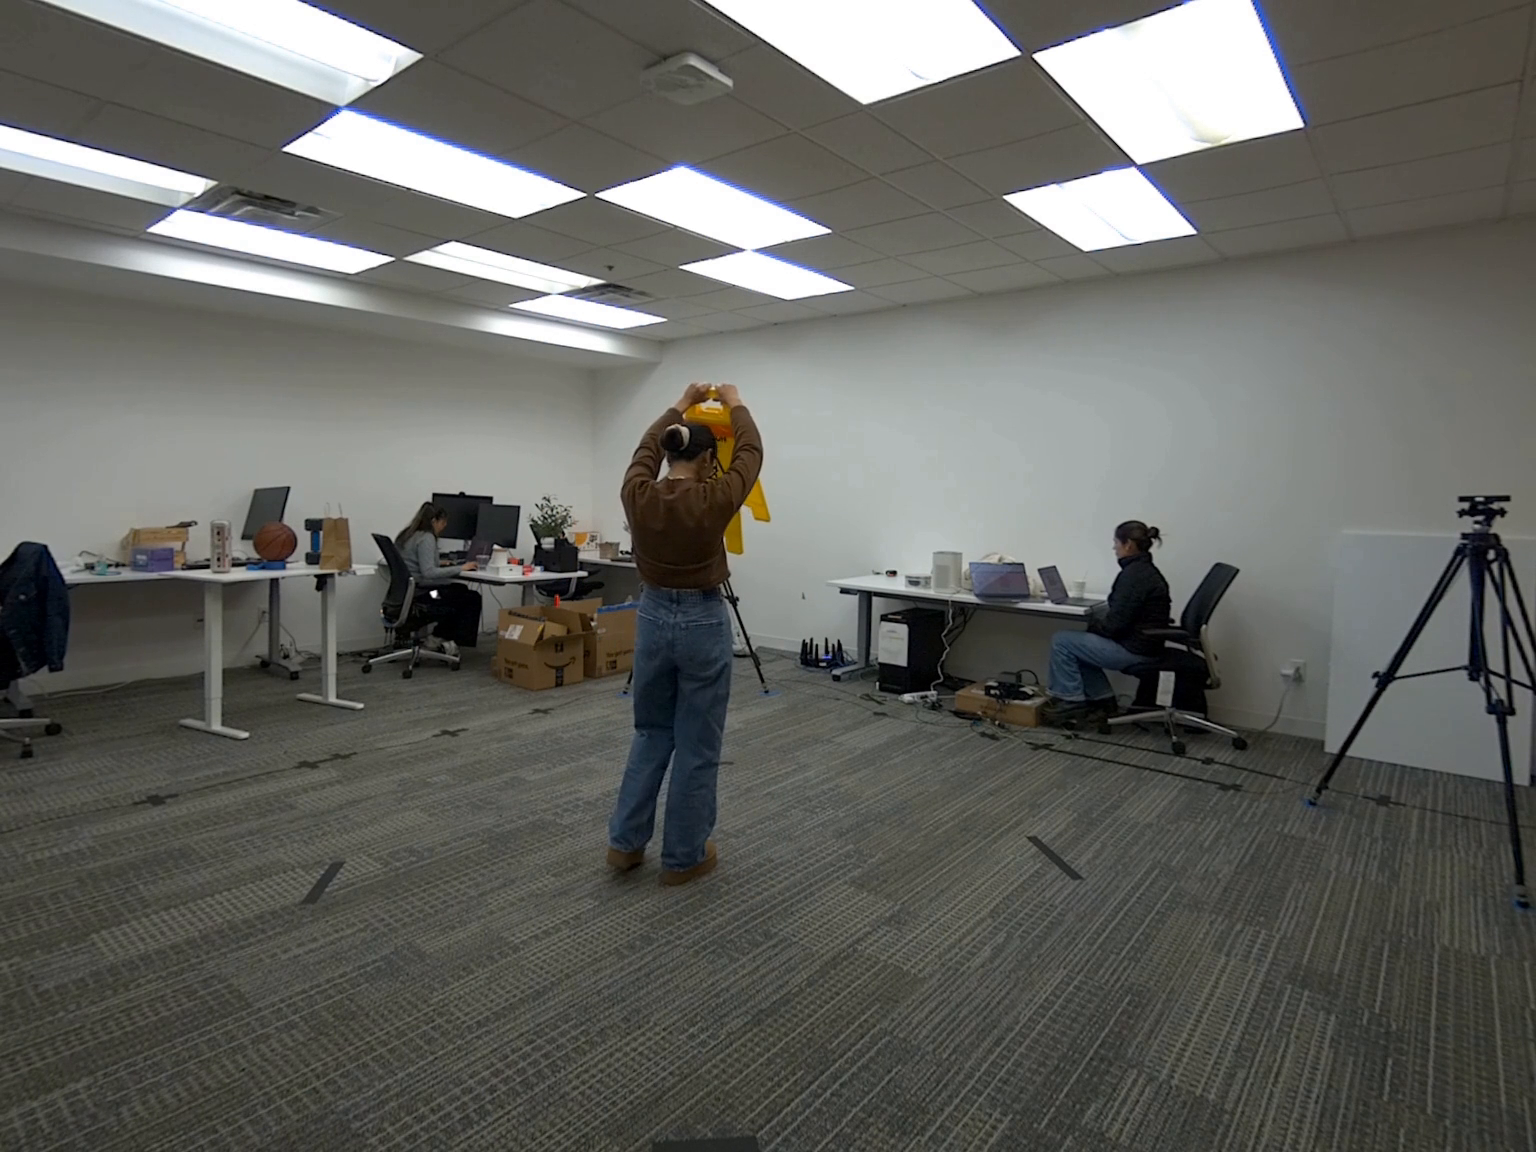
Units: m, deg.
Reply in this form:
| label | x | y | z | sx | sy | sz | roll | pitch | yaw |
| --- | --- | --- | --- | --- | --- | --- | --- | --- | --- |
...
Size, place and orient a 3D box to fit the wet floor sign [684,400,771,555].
| label | x | y | z | sx | sy | sz | roll | pitch | yaw |
| --- | --- | --- | --- | --- | --- | --- | --- | --- | --- |
| wet floor sign | -0.209 | -0.451 | 3.412 | 0.290 | 0.628 | 0.289 | 12 | 35 | 25 |
